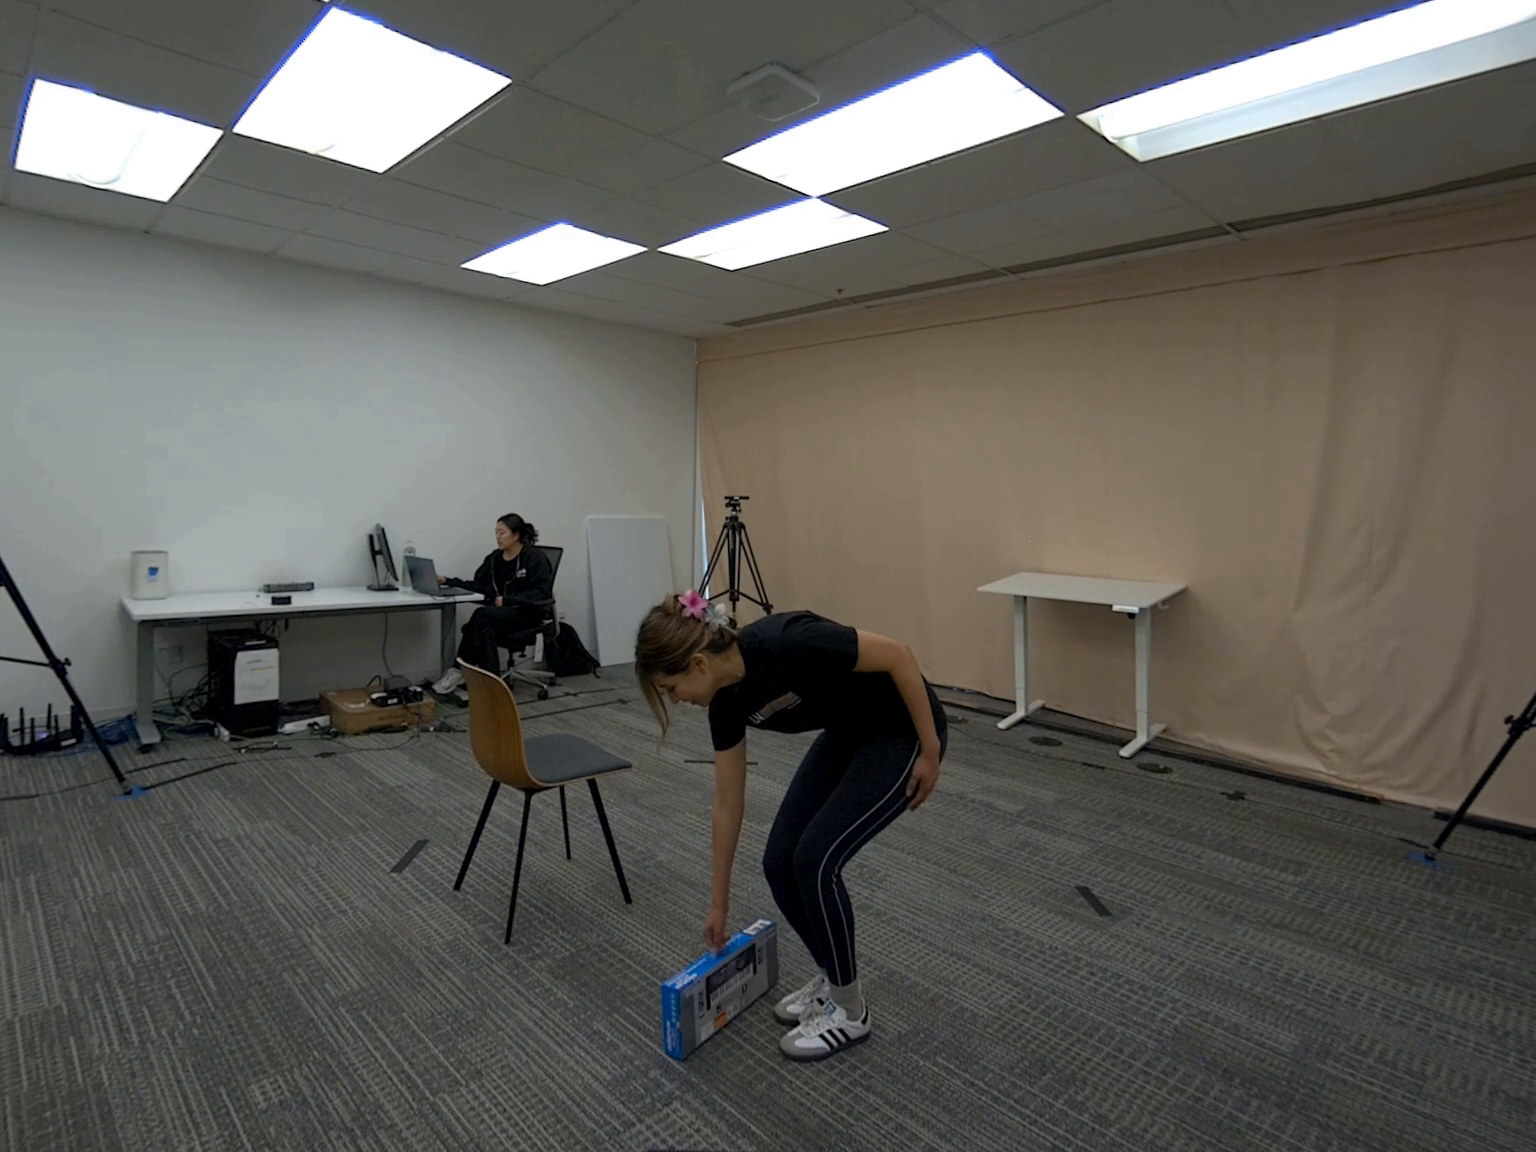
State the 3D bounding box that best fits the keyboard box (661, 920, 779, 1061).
[{"bbox_3d":[-0.122,1.093,2.258,0.060,0.176,0.427,-2,2,35],"label":"keyboard box"}]
